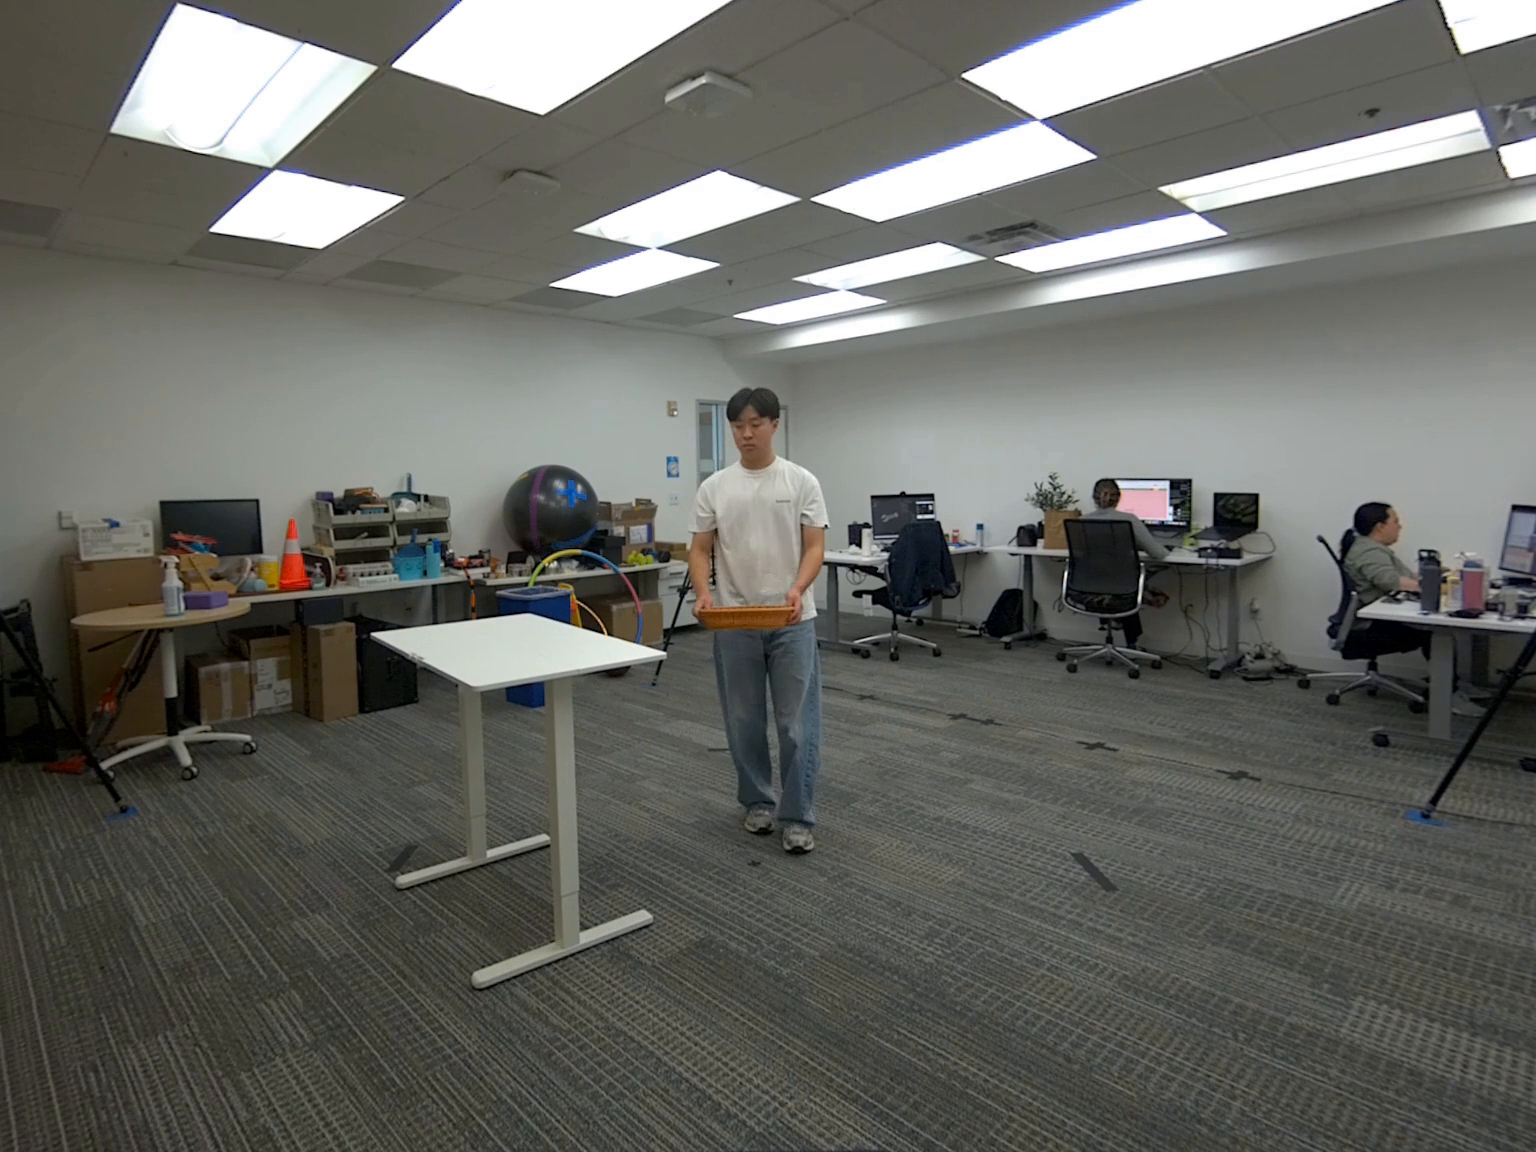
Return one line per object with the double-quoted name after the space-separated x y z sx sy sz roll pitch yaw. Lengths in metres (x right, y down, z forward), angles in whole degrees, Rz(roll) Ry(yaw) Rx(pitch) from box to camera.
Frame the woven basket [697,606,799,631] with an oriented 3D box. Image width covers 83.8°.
-0.081 0.146 3.079 0.352 0.073 0.252 -2 3 3 "woven basket"
